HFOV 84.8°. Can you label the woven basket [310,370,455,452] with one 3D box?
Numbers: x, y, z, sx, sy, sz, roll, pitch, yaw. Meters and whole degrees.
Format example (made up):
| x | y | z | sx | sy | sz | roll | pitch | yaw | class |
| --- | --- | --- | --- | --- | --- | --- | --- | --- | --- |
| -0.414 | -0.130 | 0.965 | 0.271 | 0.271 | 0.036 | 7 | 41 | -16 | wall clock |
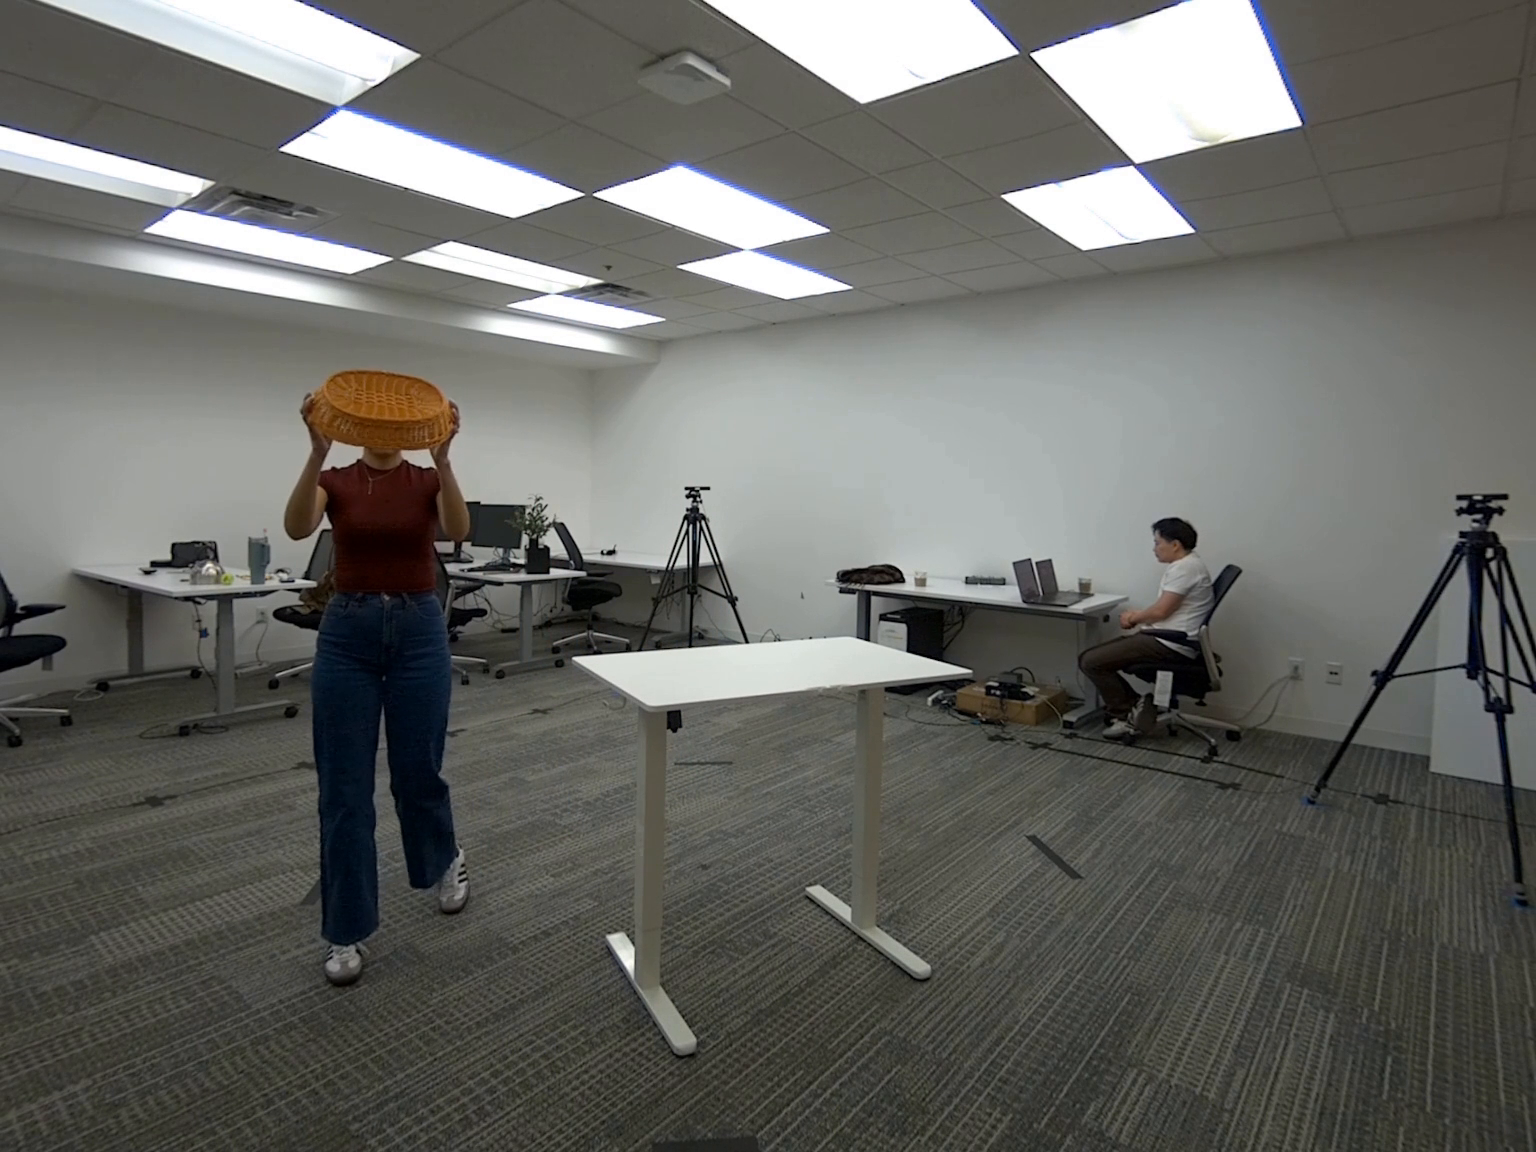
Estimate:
| x | y | z | sx | sy | sz | roll | pitch | yaw | class |
| --- | --- | --- | --- | --- | --- | --- | --- | --- | --- |
| -0.967 | -0.429 | 2.133 | 0.341 | 0.261 | 0.073 | 0 | -38 | -27 | woven basket |
